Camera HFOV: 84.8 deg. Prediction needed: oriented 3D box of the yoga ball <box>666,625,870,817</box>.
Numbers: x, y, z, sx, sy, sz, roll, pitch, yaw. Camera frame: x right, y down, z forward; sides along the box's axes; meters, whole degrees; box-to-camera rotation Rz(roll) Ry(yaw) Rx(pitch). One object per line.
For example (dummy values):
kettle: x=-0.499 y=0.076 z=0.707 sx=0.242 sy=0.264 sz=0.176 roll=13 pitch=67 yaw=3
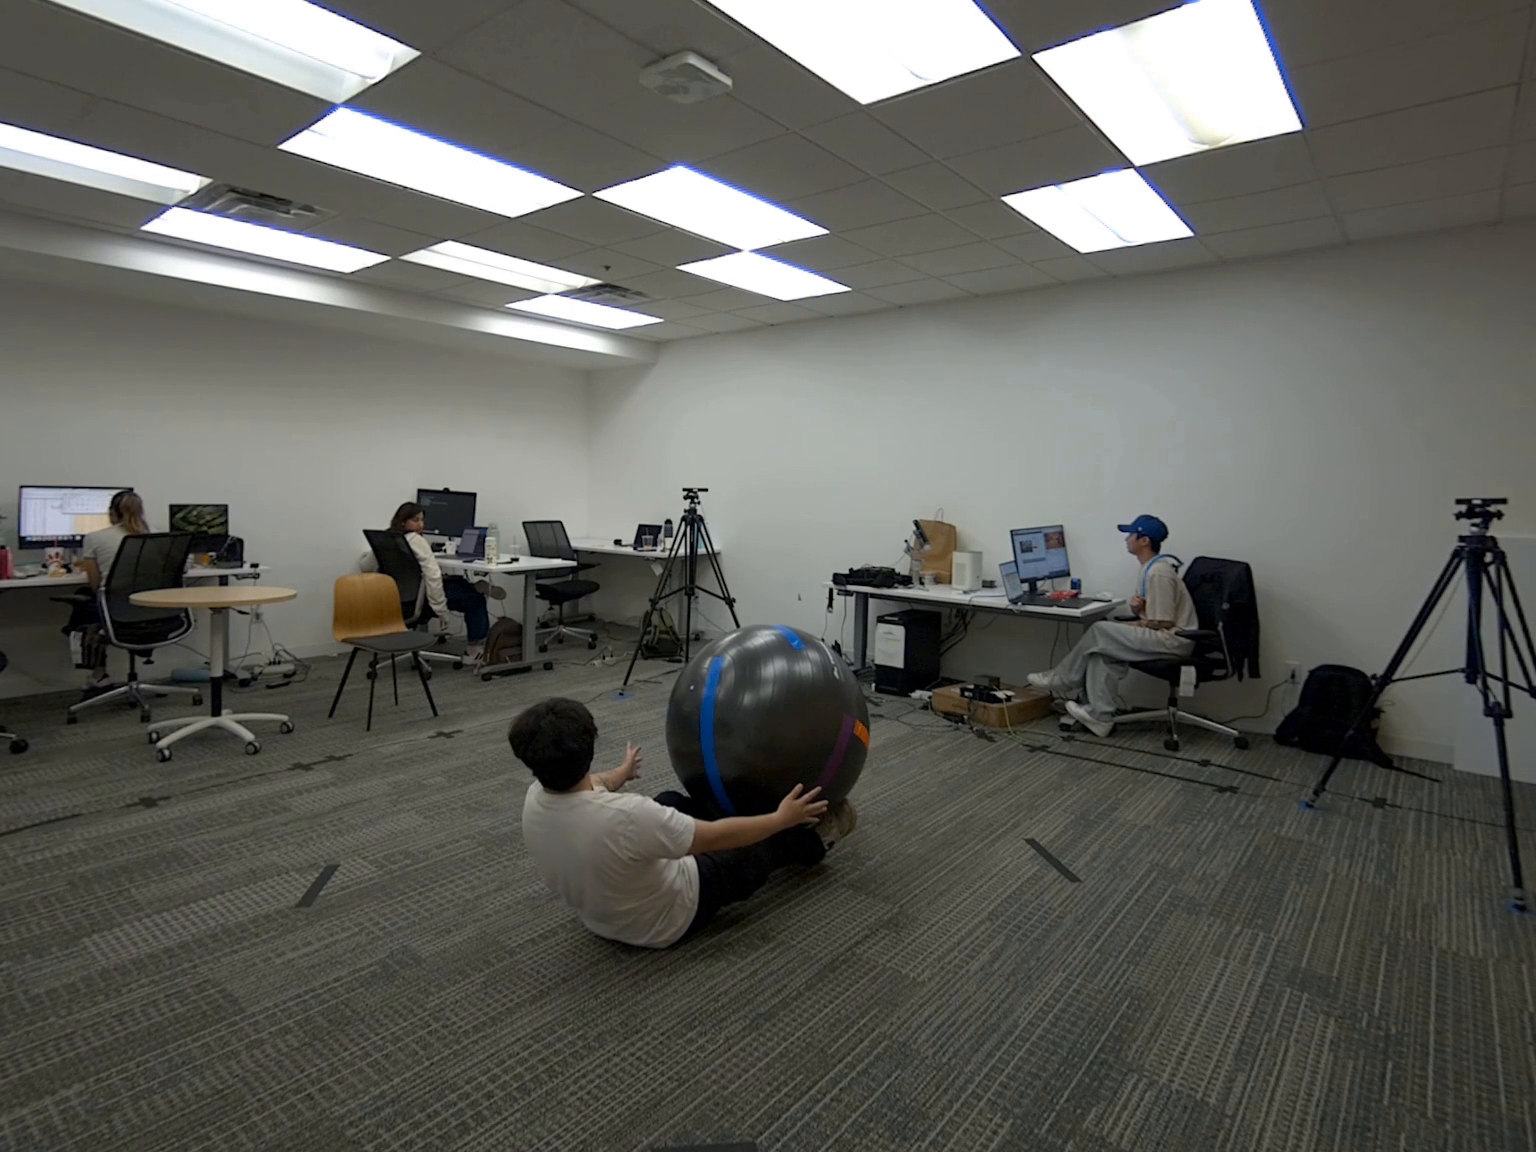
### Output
yoga ball: x=-0.014 y=0.563 z=3.184 sx=0.757 sy=0.755 sz=0.762 roll=1 pitch=4 yaw=-2
